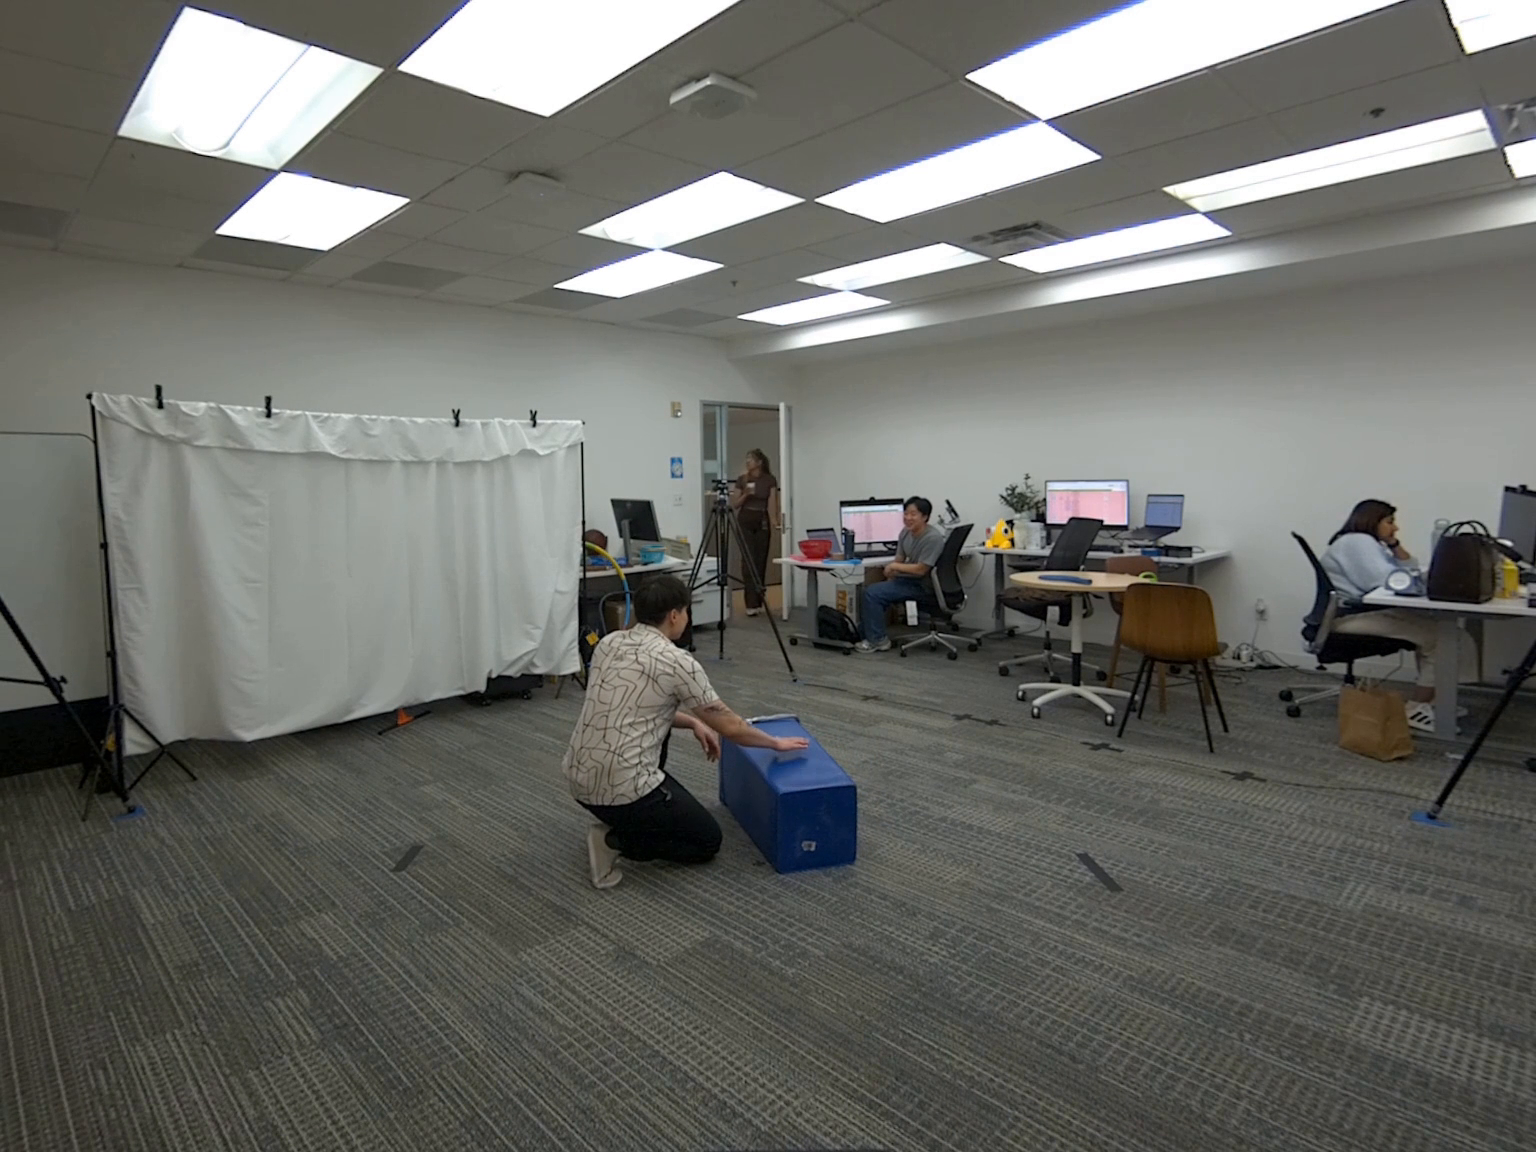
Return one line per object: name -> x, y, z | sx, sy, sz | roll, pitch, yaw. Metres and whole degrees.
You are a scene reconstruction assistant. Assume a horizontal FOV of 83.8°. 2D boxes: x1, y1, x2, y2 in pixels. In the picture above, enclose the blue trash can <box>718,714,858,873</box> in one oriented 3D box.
blue trash can -> 0.063, 0.845, 3.381 | 0.373, 0.371, 0.729 | -3, 9, -16
